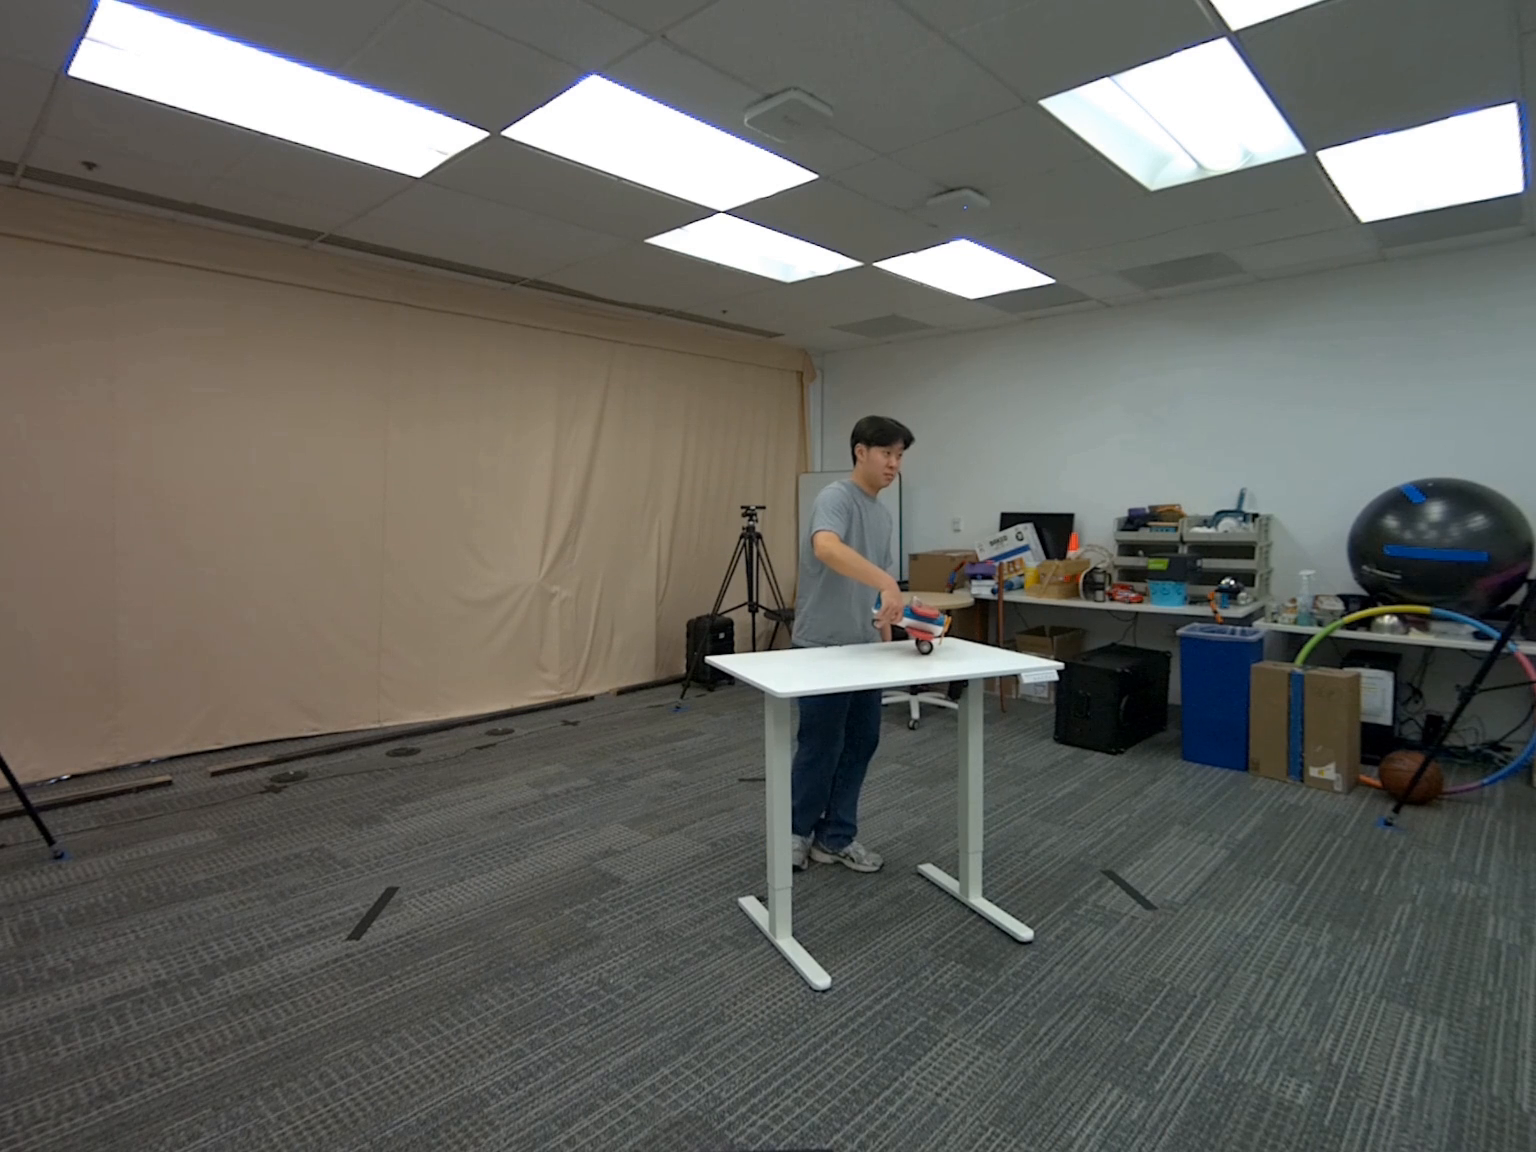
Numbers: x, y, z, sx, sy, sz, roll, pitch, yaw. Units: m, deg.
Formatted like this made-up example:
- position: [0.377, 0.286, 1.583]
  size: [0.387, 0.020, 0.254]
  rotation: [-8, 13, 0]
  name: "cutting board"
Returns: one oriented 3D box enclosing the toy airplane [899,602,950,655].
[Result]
- position: [0.487, 0.158, 2.887]
  size: [0.252, 0.156, 0.258]
  rotation: [25, 7, -23]
  name: "toy airplane"
